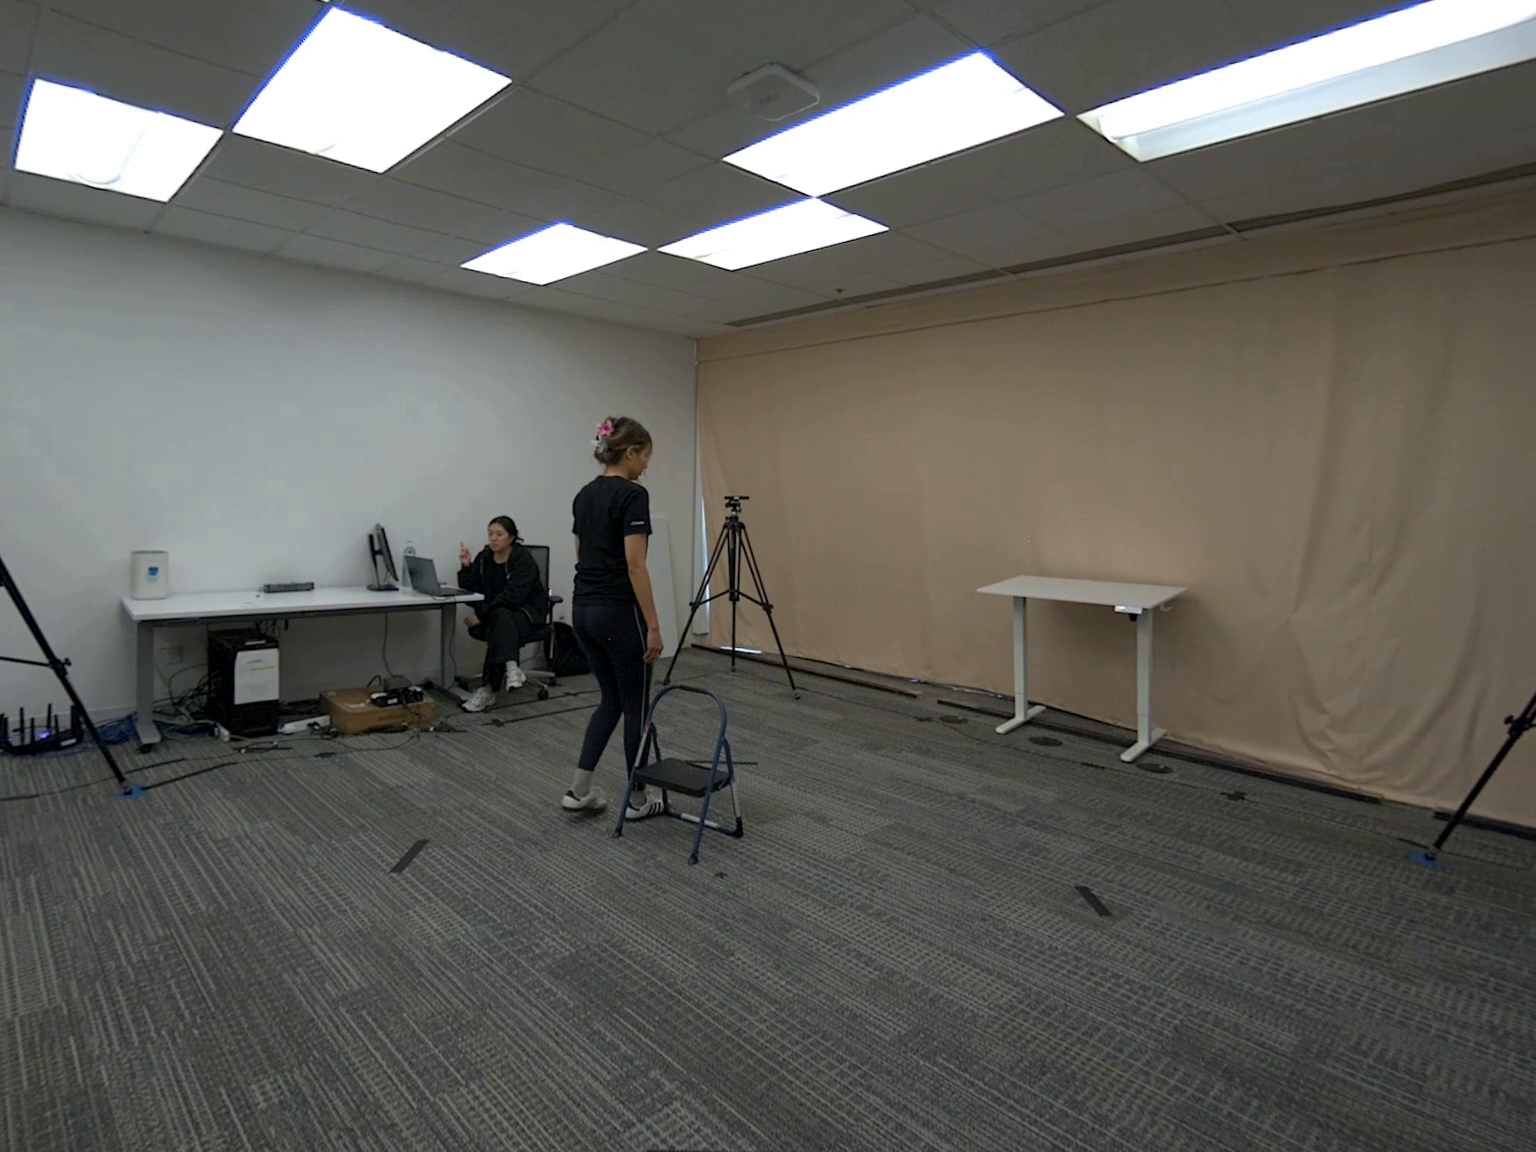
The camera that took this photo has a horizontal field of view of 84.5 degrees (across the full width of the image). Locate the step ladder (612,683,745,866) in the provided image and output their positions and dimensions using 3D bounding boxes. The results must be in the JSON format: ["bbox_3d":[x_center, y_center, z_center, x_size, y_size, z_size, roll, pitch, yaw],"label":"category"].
[{"bbox_3d":[-0.360,0.768,3.428,0.441,0.604,0.342,4,5,34],"label":"step ladder"}]
